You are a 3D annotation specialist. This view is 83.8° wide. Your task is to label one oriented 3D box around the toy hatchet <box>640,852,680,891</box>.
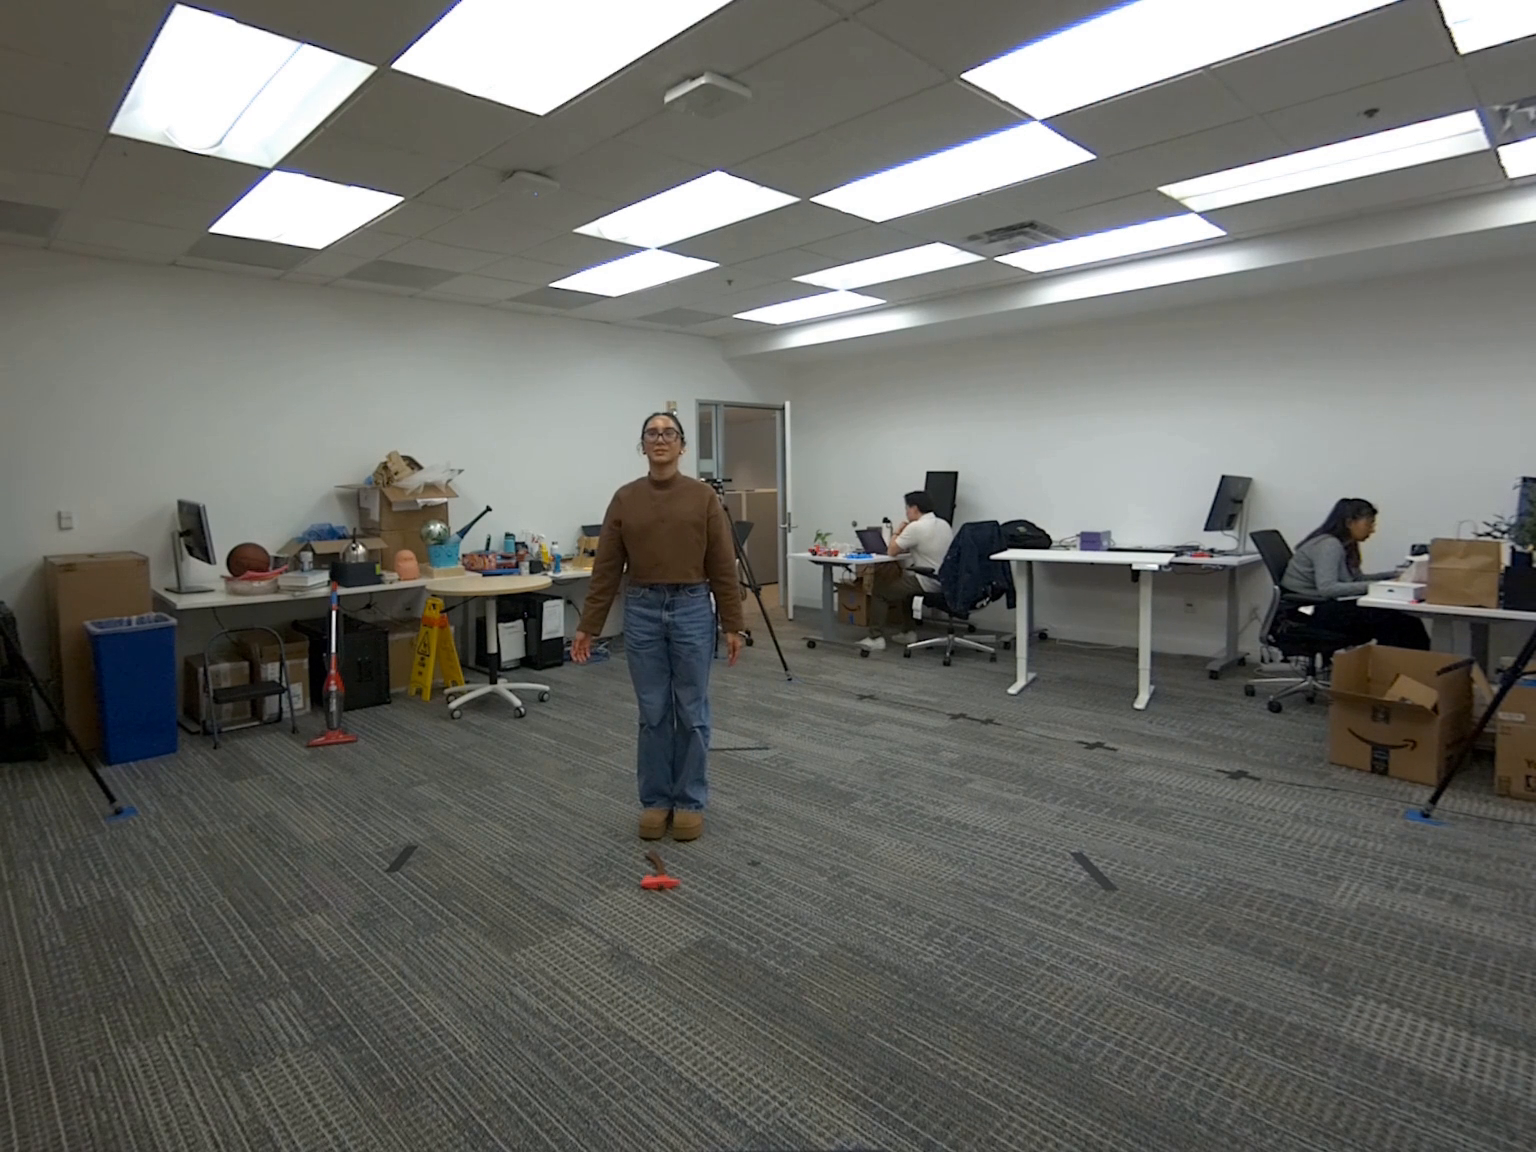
[{"bbox_3d":[-0.416,1.049,3.032,0.128,0.029,0.277,-5,6,-26],"label":"toy hatchet"}]
